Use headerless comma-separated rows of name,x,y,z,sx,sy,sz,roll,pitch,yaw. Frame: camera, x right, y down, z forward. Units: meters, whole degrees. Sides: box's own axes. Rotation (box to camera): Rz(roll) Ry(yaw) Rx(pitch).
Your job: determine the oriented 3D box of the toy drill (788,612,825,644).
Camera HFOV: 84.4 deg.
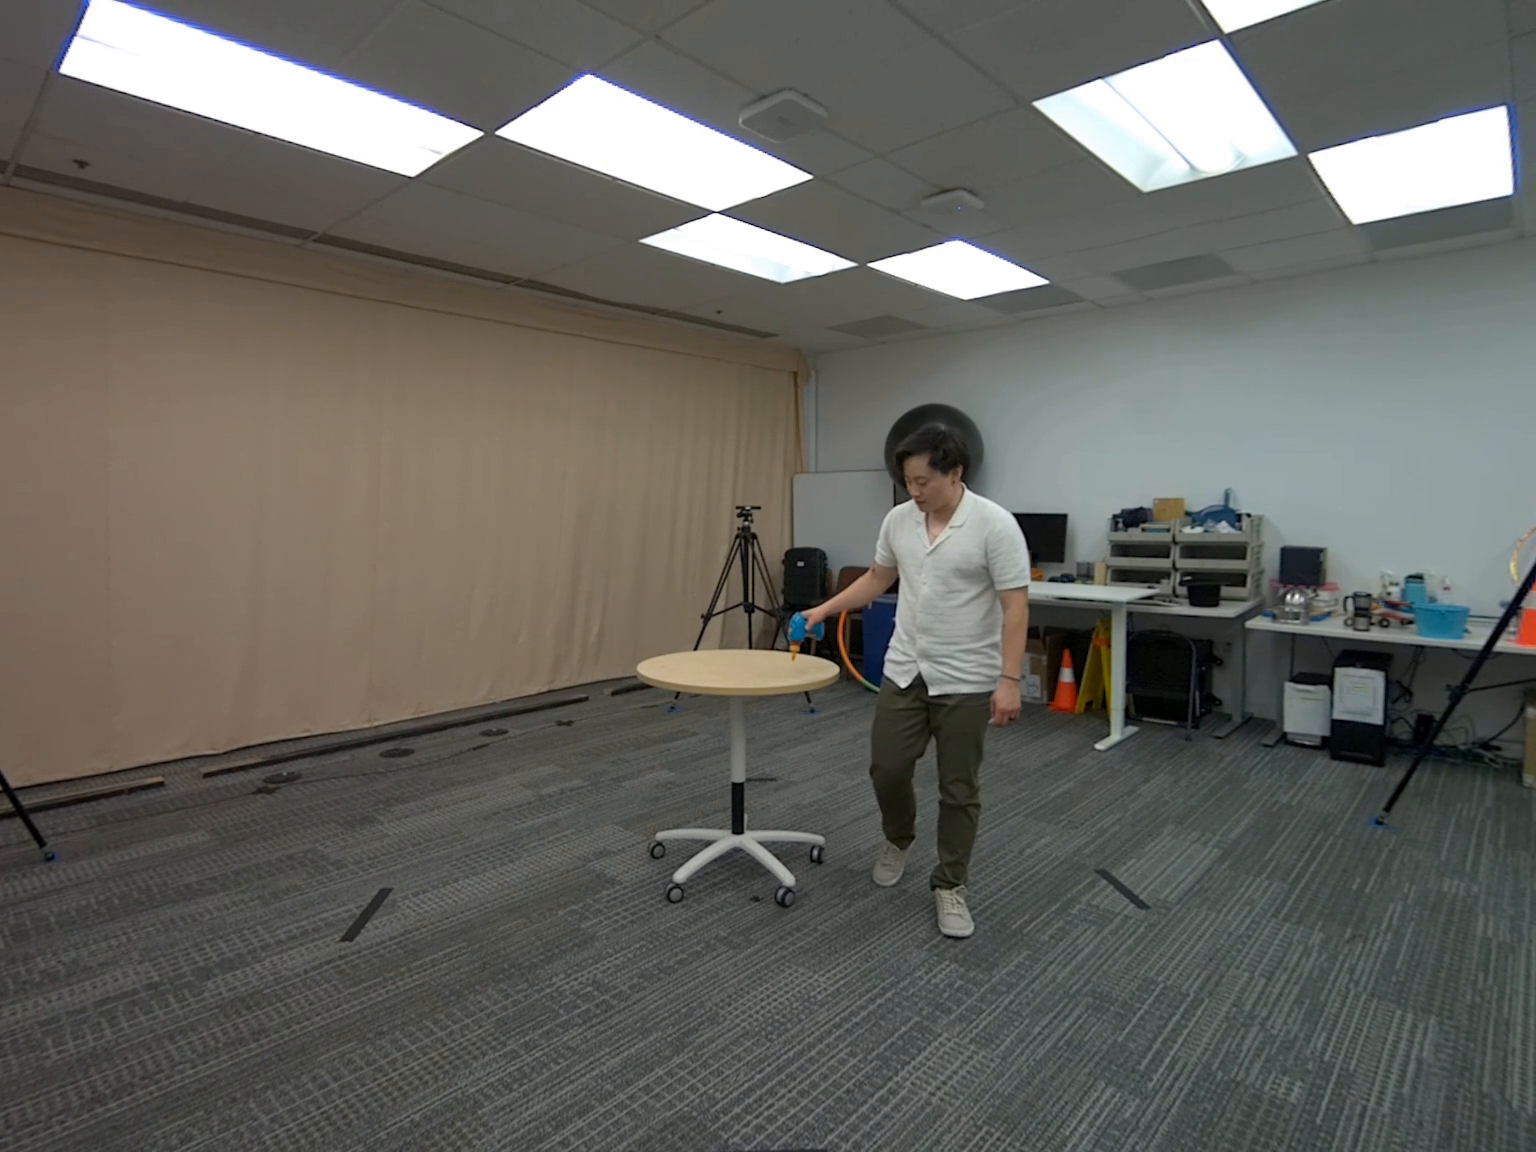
toy drill,0.137,0.221,2.960,0.141,0.170,0.063,10,-9,-32
